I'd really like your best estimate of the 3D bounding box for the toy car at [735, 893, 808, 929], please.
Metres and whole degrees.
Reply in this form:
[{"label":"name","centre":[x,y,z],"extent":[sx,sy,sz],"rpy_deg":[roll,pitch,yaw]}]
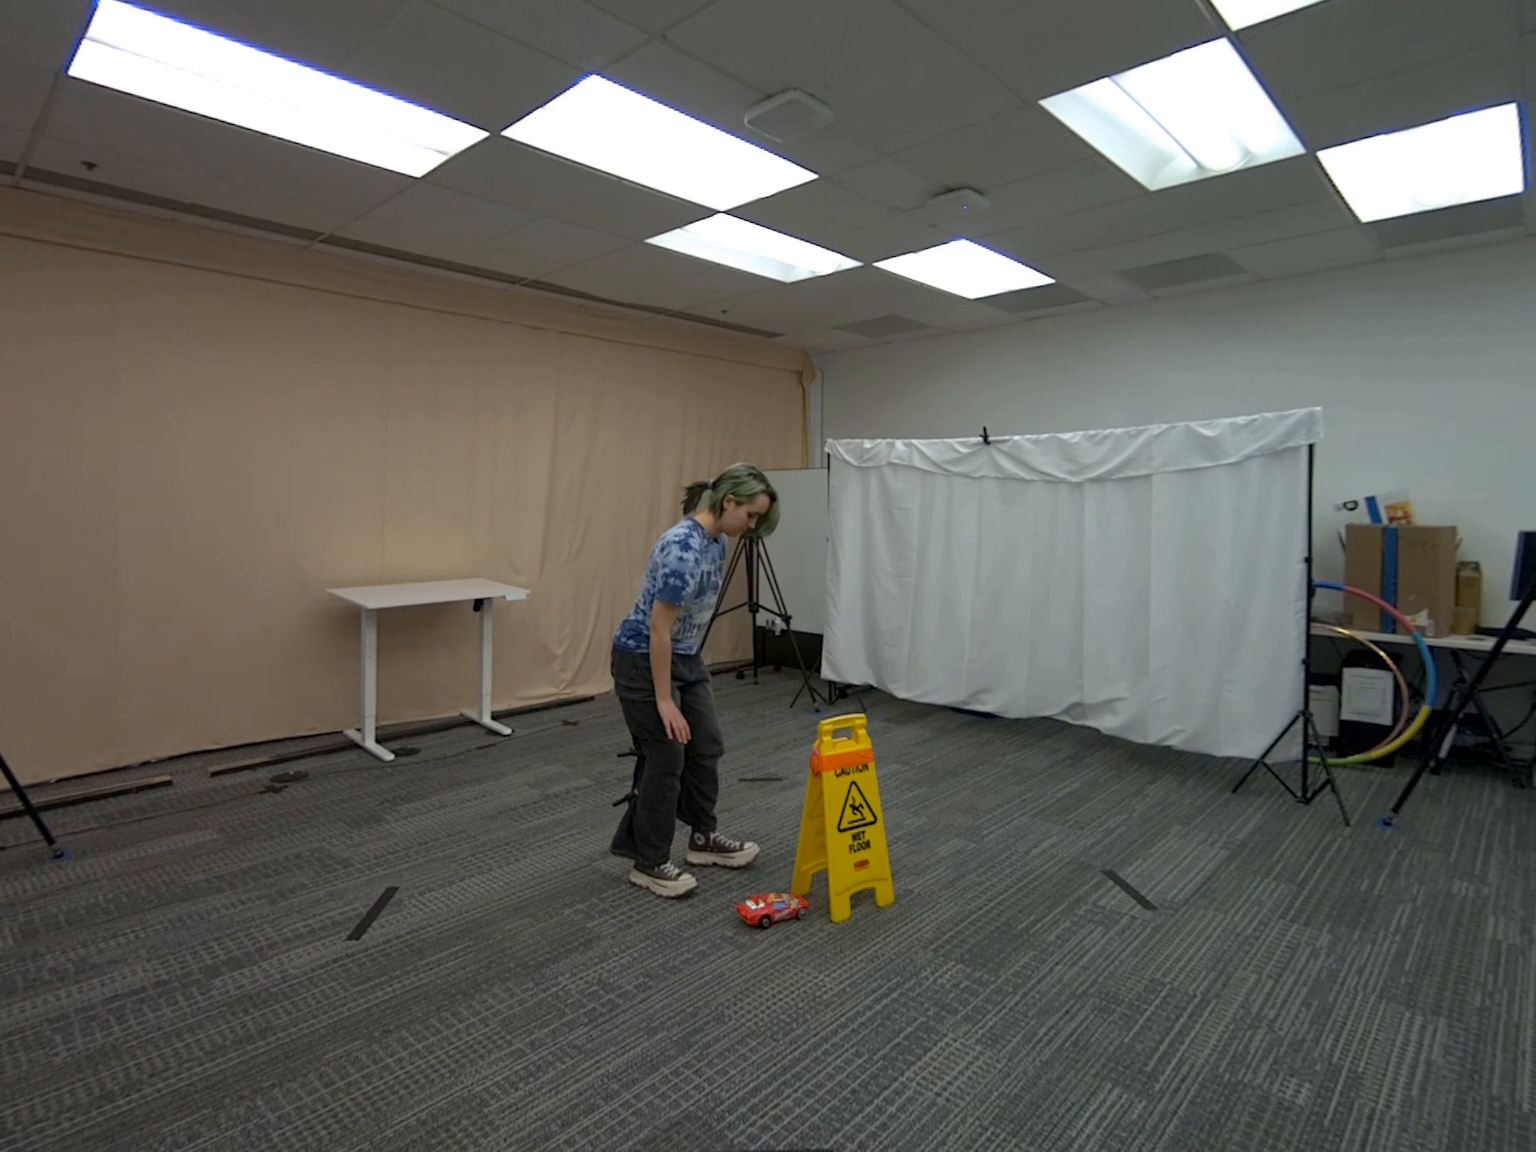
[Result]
[{"label":"toy car","centre":[0.007,1.128,2.837],"extent":[0.248,0.083,0.133],"rpy_deg":[13,-3,-25]}]
